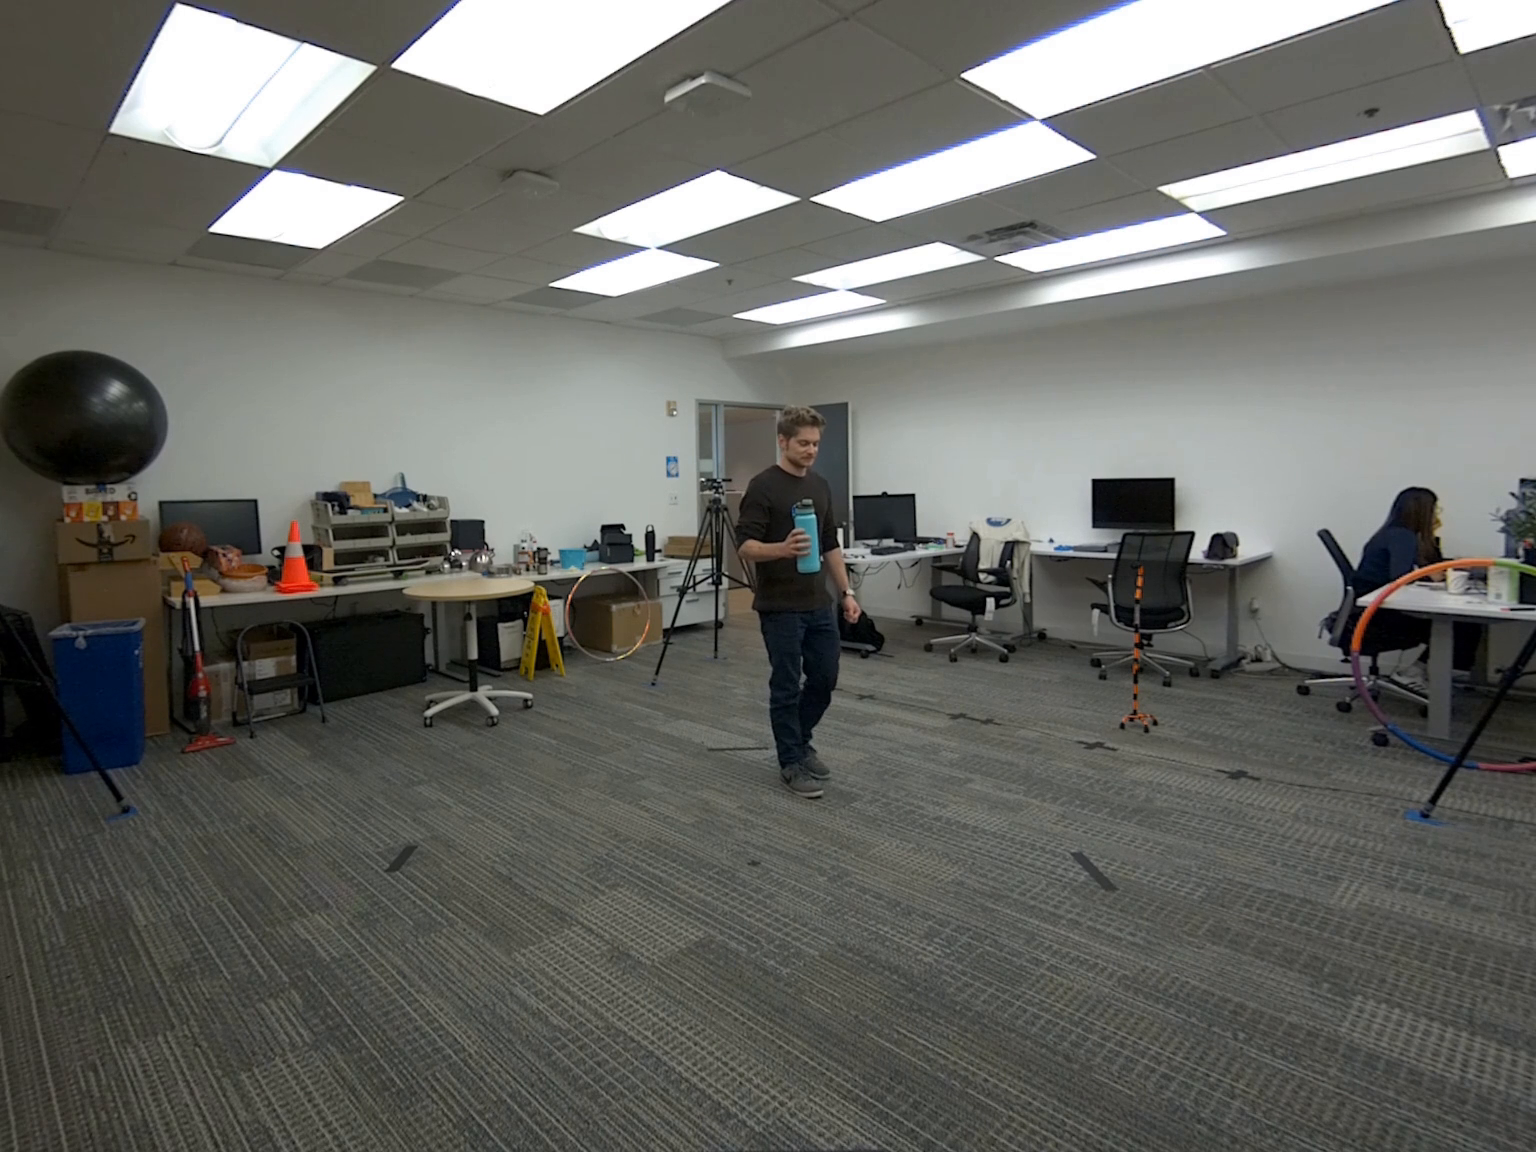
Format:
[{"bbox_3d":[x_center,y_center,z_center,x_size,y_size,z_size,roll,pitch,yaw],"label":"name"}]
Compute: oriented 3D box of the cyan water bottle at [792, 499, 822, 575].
[{"bbox_3d":[0.155,-0.161,3.414,0.092,0.281,0.093,-7,8,-1],"label":"cyan water bottle"}]
